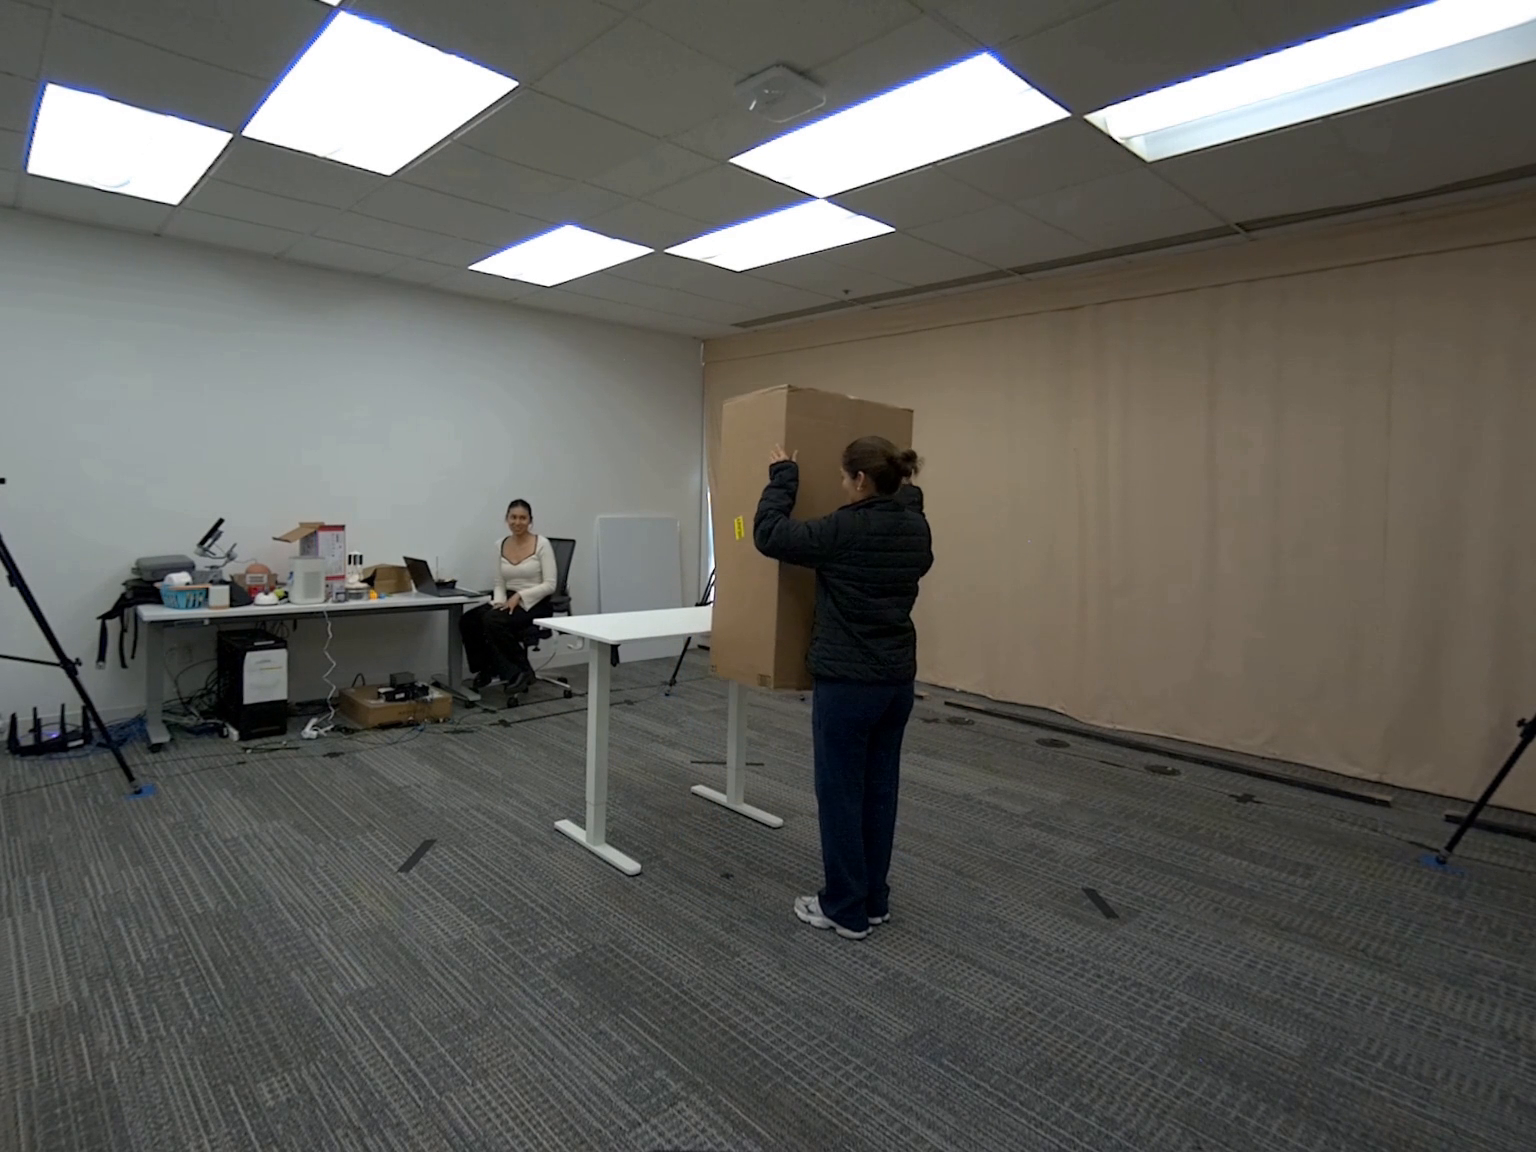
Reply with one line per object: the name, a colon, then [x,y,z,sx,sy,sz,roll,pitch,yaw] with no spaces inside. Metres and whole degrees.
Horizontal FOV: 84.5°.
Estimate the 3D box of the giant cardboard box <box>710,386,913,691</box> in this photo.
giant cardboard box: [0.154,-0.117,3.091,0.571,1.029,0.456,4,-3,-32]
